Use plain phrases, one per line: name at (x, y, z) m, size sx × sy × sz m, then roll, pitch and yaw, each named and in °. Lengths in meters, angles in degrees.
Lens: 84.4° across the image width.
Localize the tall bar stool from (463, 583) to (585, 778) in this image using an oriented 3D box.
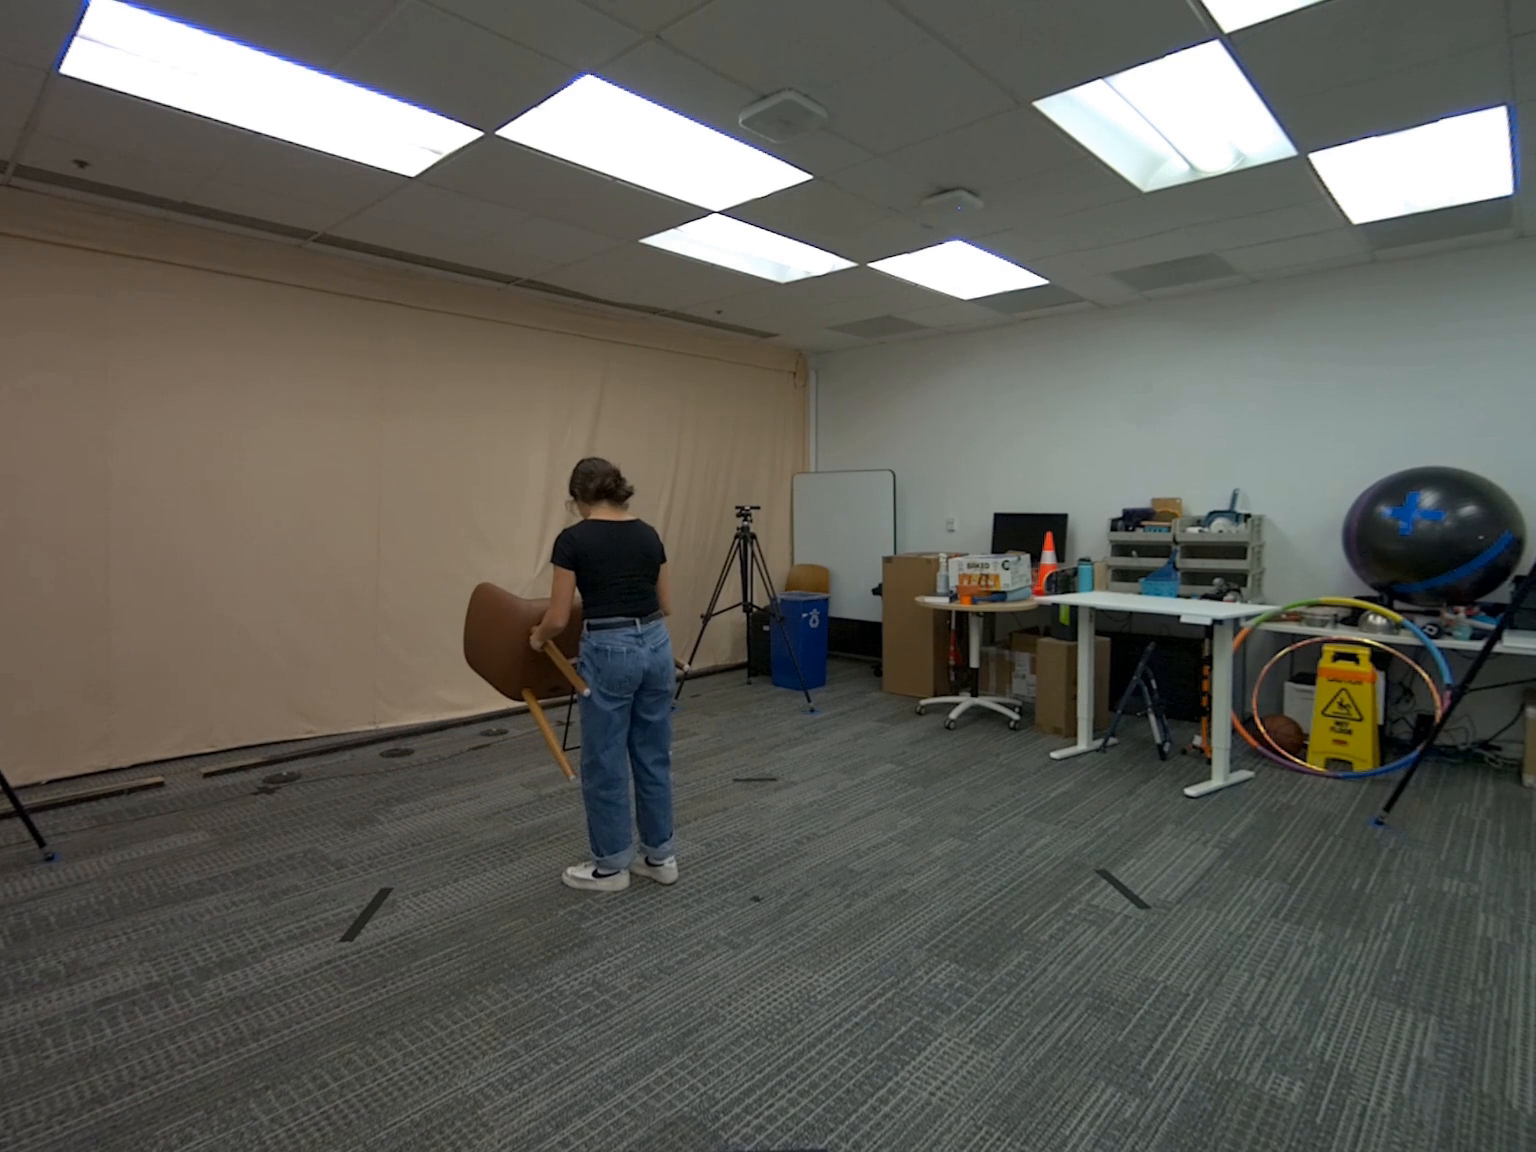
tall bar stool at (-0.787, 0.365, 3.312) m, size 0.454 × 0.453 × 0.923 m, roll -7°, pitch 28°, yaw -44°
